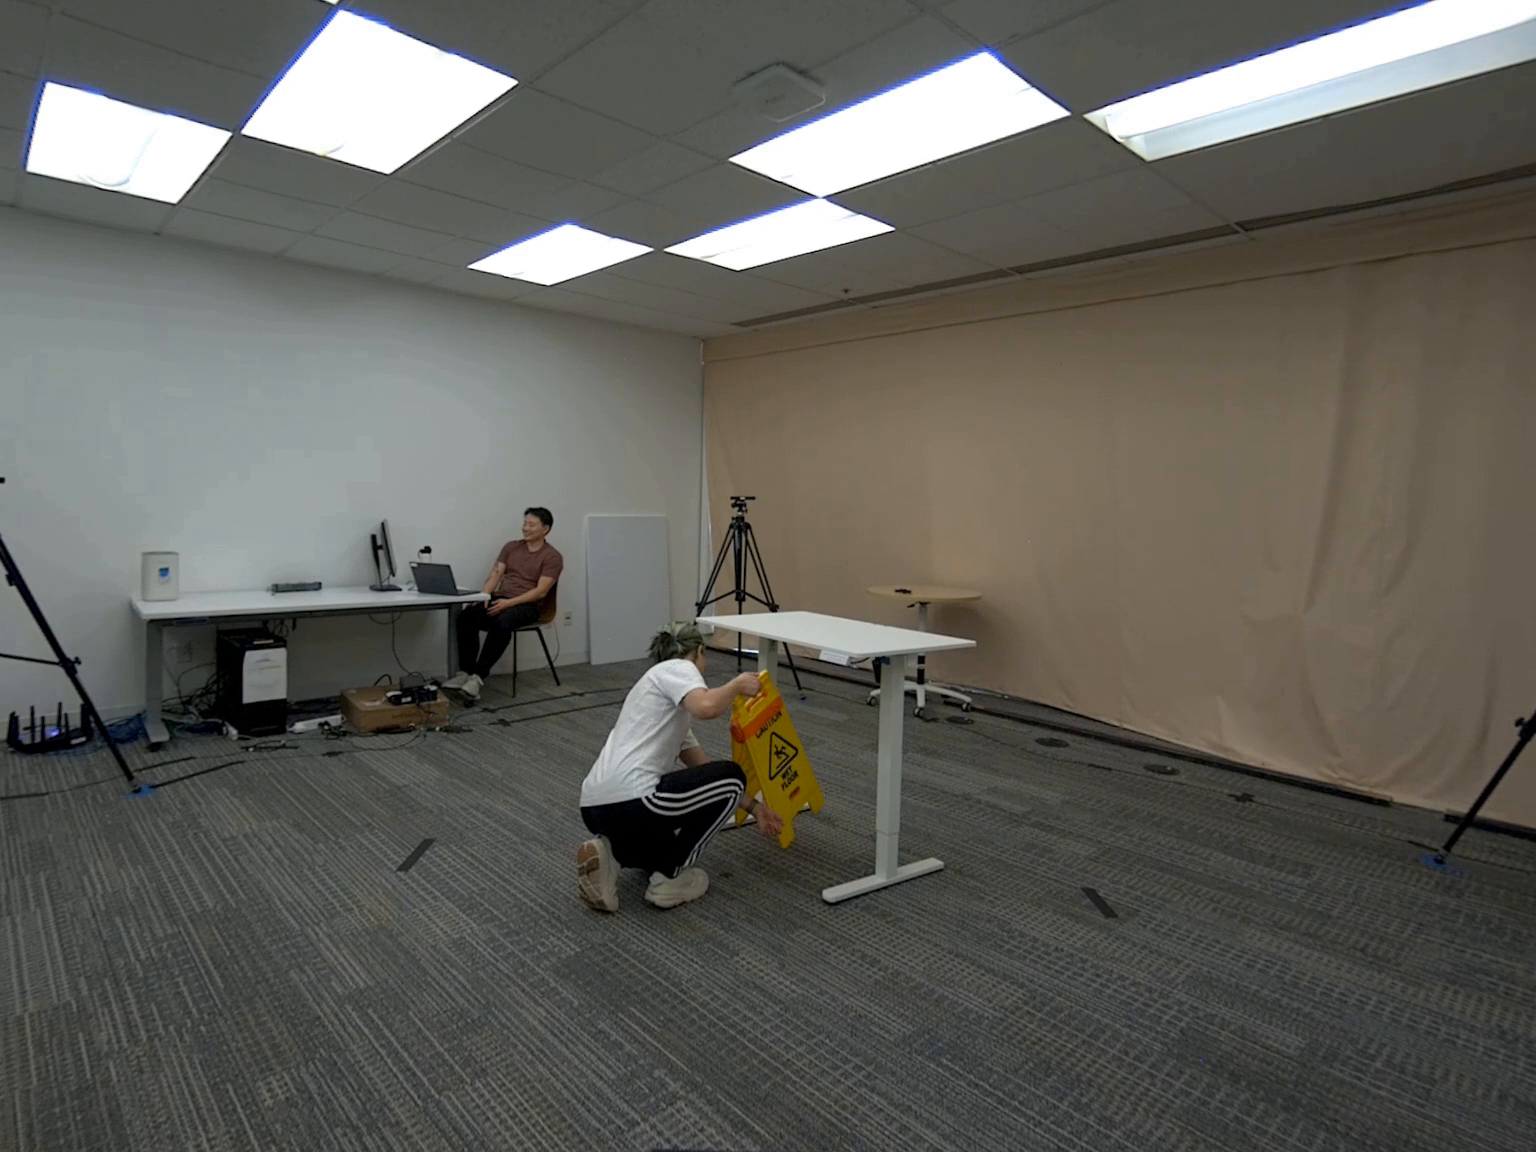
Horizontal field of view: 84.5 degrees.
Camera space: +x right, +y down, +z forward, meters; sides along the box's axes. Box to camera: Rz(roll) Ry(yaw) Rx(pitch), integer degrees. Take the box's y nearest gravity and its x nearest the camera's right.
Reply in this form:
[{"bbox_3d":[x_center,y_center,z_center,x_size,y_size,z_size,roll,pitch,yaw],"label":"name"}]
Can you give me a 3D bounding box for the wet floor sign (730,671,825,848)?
[{"bbox_3d":[-0.014,0.671,3.194,0.297,0.632,0.281,13,36,37],"label":"wet floor sign"}]
